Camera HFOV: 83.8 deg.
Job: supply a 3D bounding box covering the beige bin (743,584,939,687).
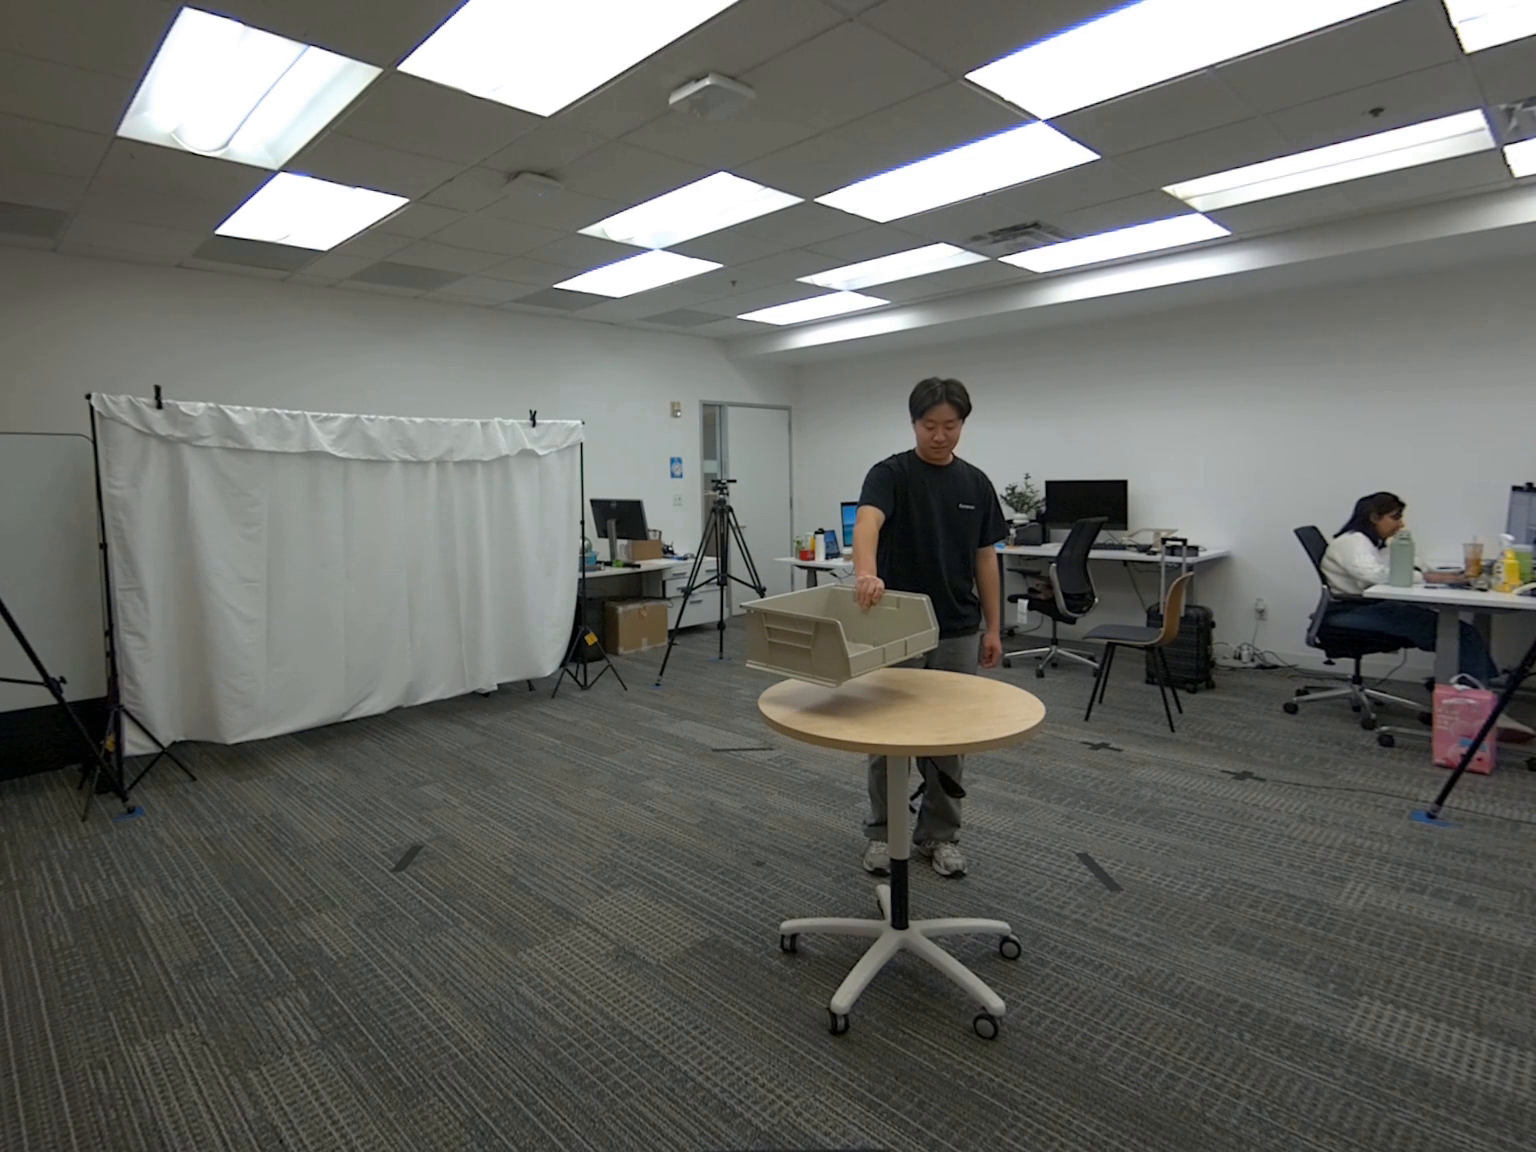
[{"bbox_3d":[0.201,0.156,2.393,0.412,0.188,0.389,-9,11,-41],"label":"beige bin"}]
